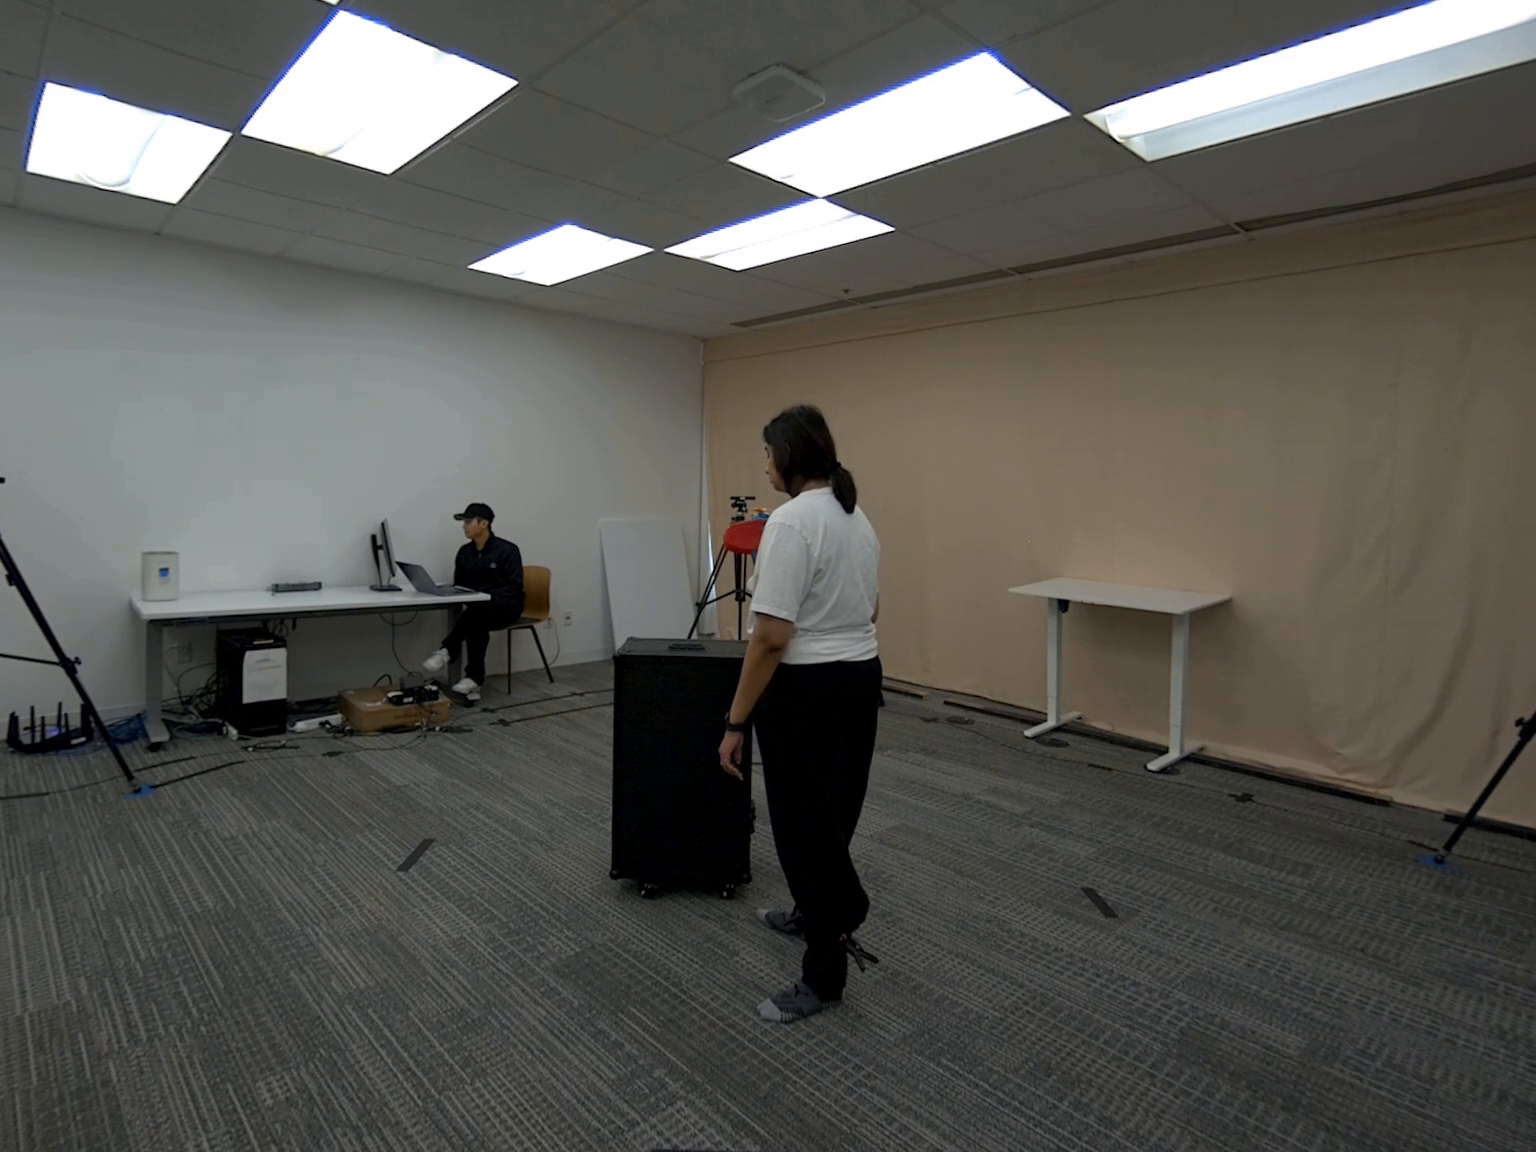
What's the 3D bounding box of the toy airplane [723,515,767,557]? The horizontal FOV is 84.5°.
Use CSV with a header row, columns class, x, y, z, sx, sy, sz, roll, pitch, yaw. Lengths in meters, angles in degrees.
class,x,y,z,sx,sy,sz,roll,pitch,yaw
toy airplane,-0.001,-0.084,2.684,0.250,0.264,0.154,-28,-19,-14
